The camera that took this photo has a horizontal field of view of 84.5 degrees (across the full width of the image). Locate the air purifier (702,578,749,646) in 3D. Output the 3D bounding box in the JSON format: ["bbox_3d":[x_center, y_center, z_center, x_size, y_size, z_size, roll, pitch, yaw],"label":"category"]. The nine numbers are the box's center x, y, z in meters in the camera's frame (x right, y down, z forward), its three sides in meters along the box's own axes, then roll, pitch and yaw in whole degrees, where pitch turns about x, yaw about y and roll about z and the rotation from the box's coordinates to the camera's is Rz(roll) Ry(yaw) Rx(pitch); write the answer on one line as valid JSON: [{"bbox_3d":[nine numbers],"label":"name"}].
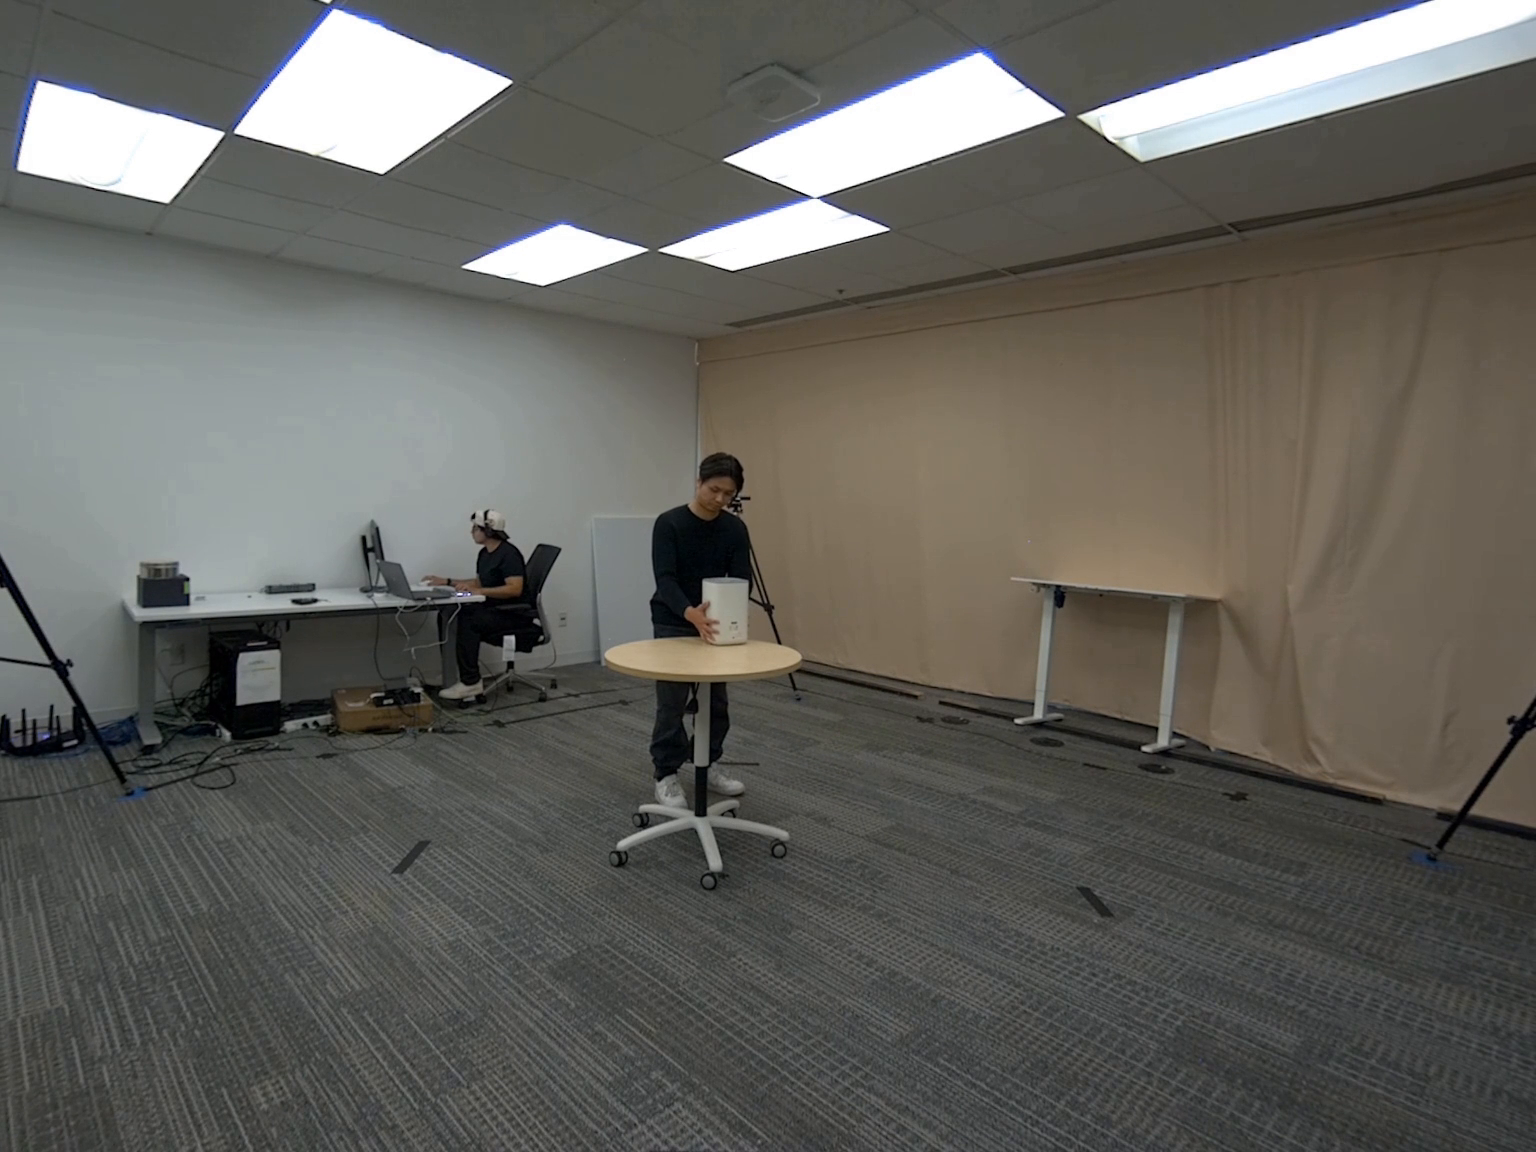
[{"bbox_3d":[-0.193,0.148,3.539,0.168,0.265,0.175,-1,4,-28],"label":"air purifier"}]
